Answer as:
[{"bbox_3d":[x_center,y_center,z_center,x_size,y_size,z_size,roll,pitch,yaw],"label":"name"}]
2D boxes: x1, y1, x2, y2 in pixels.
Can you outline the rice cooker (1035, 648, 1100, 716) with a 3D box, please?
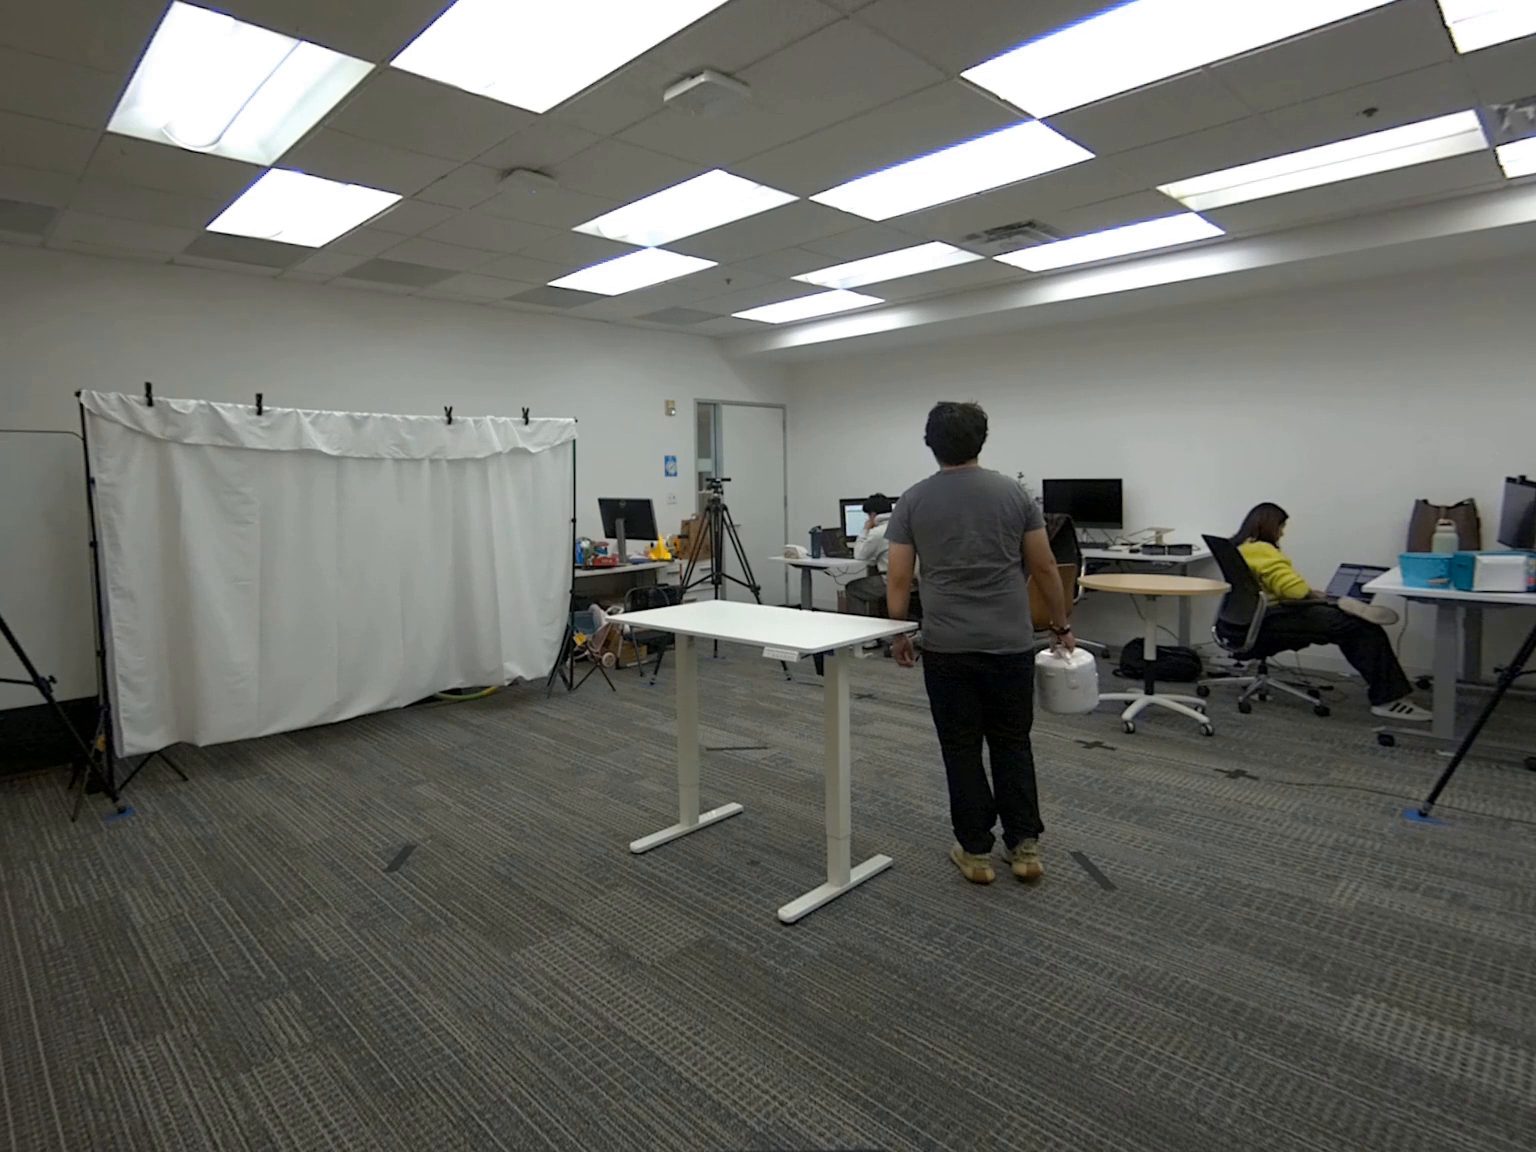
[{"bbox_3d":[1.067,0.367,3.080,0.219,0.231,0.221,-8,9,6],"label":"rice cooker"}]
